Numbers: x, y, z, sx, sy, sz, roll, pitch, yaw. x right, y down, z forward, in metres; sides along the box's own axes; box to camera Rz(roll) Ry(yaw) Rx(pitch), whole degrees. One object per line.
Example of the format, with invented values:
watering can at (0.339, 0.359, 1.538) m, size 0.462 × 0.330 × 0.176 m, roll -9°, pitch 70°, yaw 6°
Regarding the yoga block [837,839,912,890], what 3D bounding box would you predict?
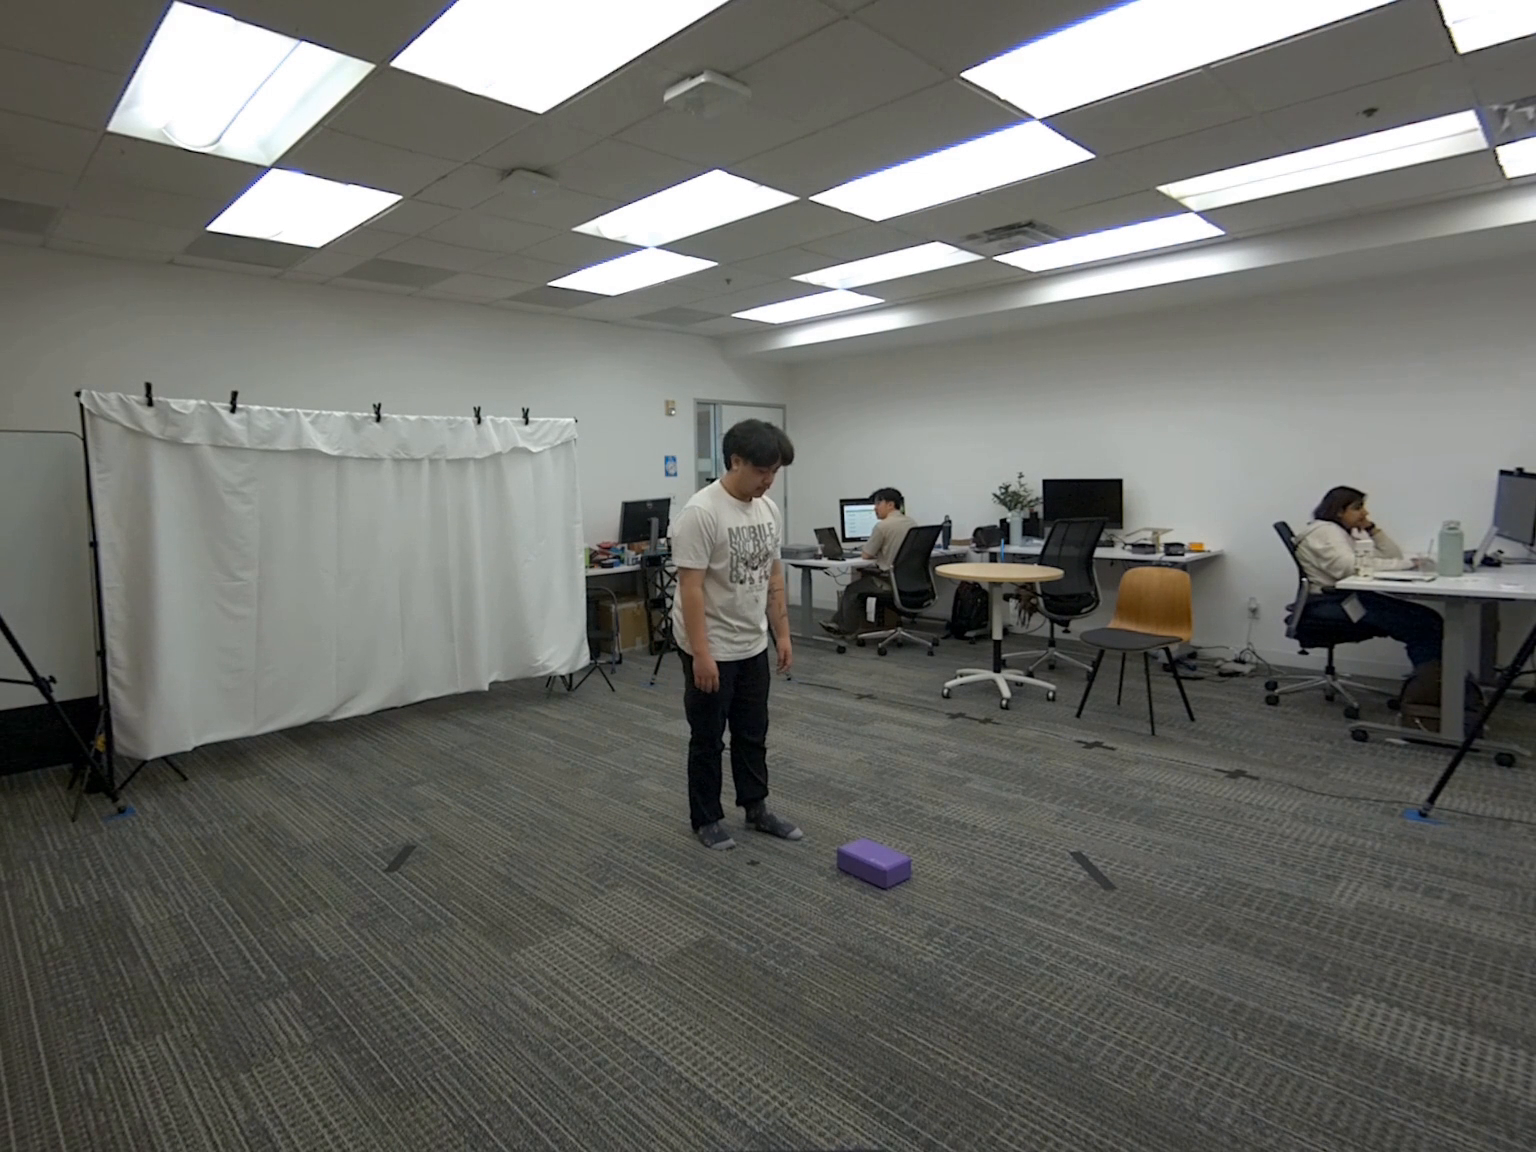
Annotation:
yoga block at (0.376, 1.010, 3.003) m, size 0.145 × 0.076 × 0.236 m, roll -5°, pitch 7°, yaw -41°
